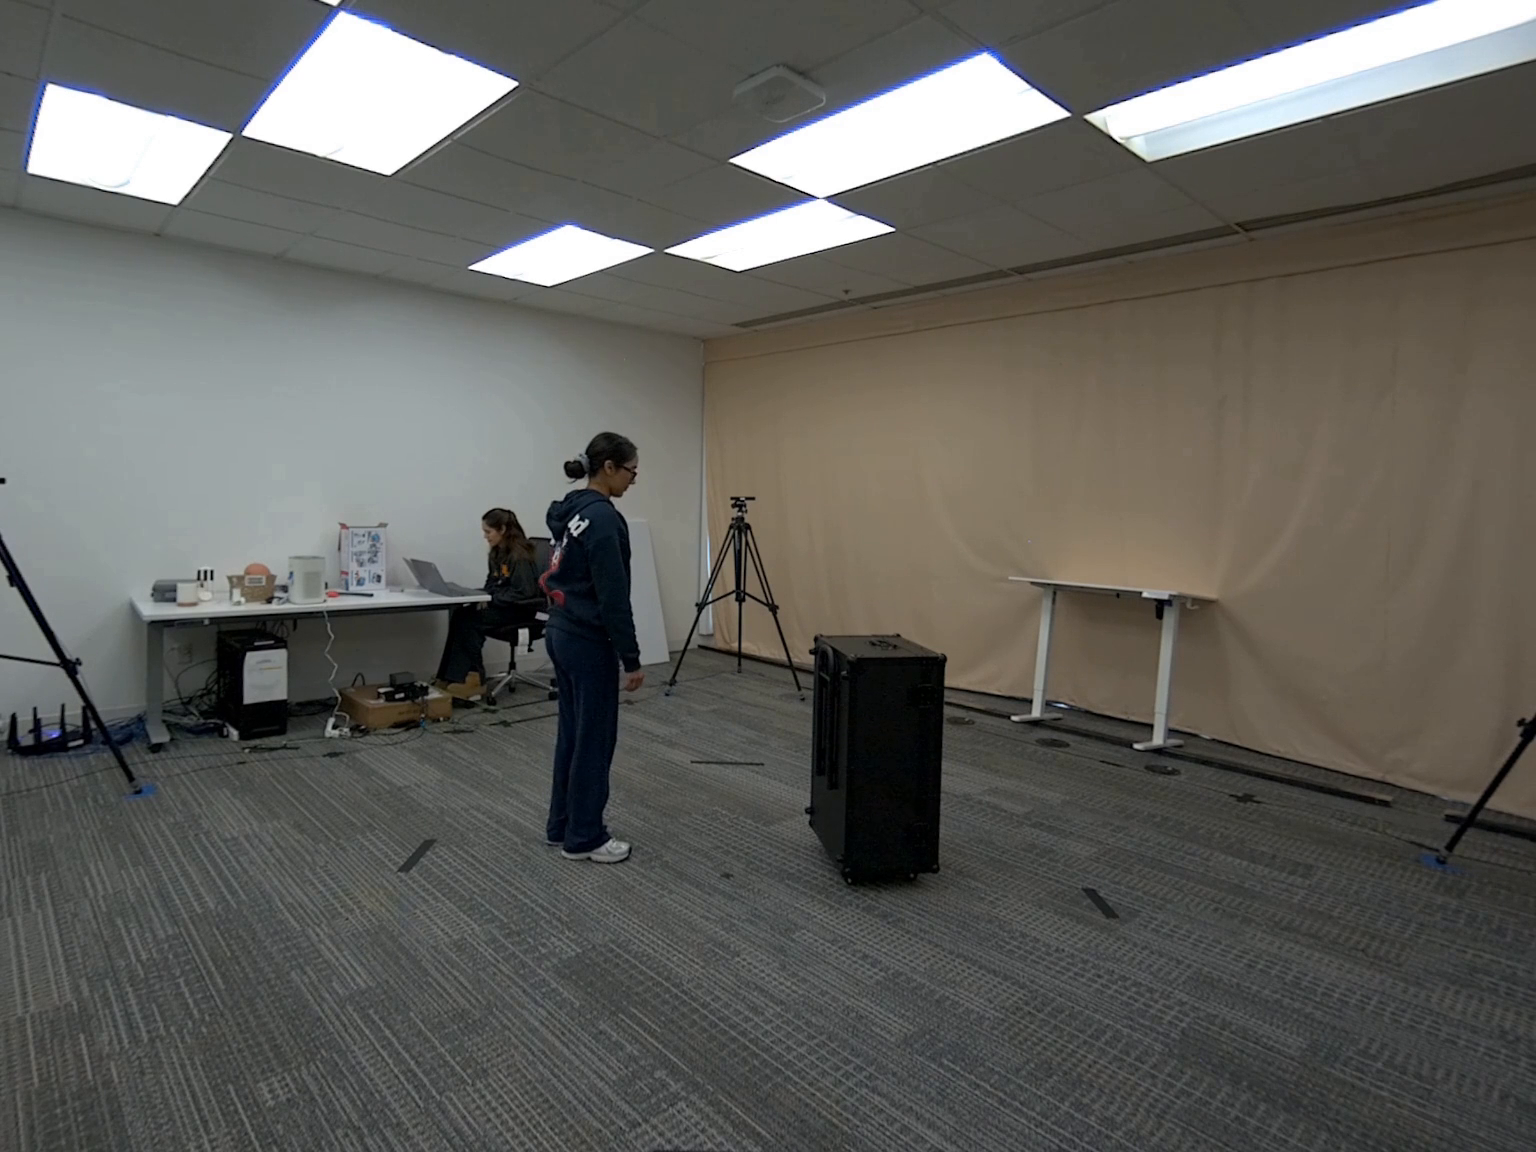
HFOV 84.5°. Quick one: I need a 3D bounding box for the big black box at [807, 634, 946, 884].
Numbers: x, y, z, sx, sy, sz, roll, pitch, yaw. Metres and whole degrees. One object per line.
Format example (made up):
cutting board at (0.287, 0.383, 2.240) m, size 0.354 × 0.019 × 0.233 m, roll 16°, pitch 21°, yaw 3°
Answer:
big black box at (0.385, 0.680, 3.197) m, size 0.393 × 0.859 × 0.527 m, roll 0°, pitch 4°, yaw -12°
